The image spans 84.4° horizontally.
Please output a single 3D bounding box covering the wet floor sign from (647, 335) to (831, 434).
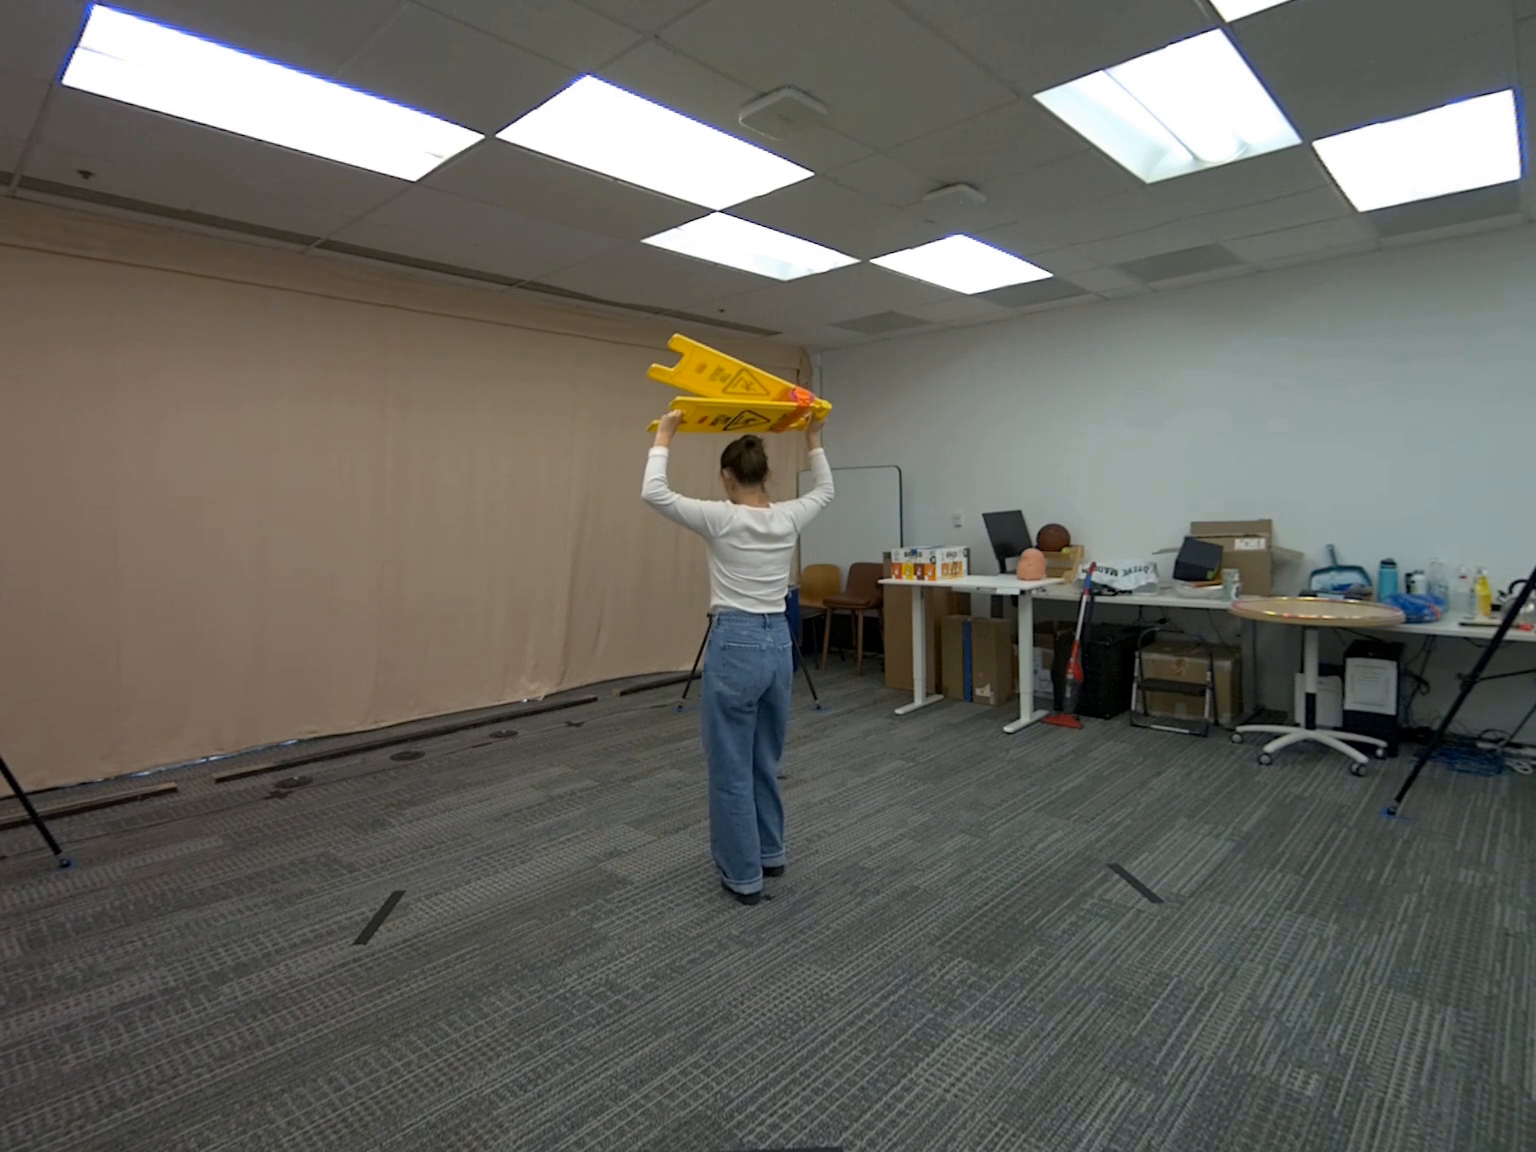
[{"bbox_3d":[-0.084,-0.634,3.058,0.629,0.293,0.286,6,-20,-27],"label":"wet floor sign"}]
